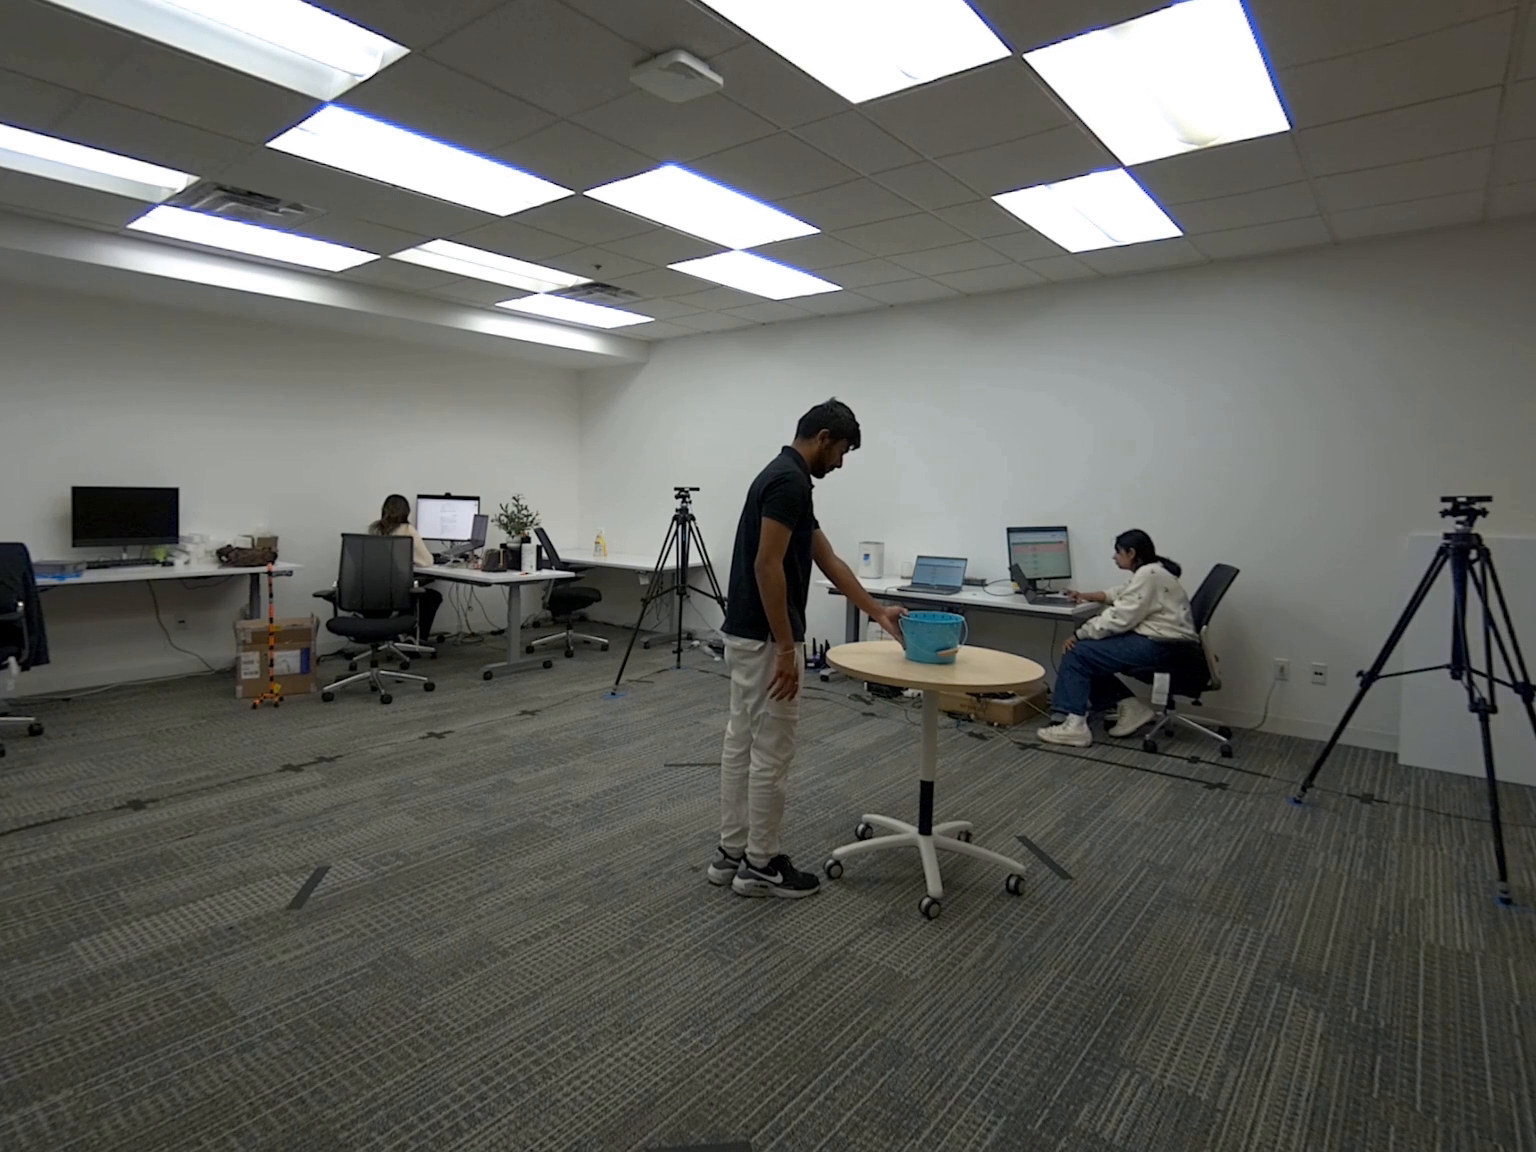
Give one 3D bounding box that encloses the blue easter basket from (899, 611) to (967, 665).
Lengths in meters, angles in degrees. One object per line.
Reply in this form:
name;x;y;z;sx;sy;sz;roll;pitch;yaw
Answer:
blue easter basket;0.594;0.221;3.108;0.243;0.155;0.245;1;5;-2
